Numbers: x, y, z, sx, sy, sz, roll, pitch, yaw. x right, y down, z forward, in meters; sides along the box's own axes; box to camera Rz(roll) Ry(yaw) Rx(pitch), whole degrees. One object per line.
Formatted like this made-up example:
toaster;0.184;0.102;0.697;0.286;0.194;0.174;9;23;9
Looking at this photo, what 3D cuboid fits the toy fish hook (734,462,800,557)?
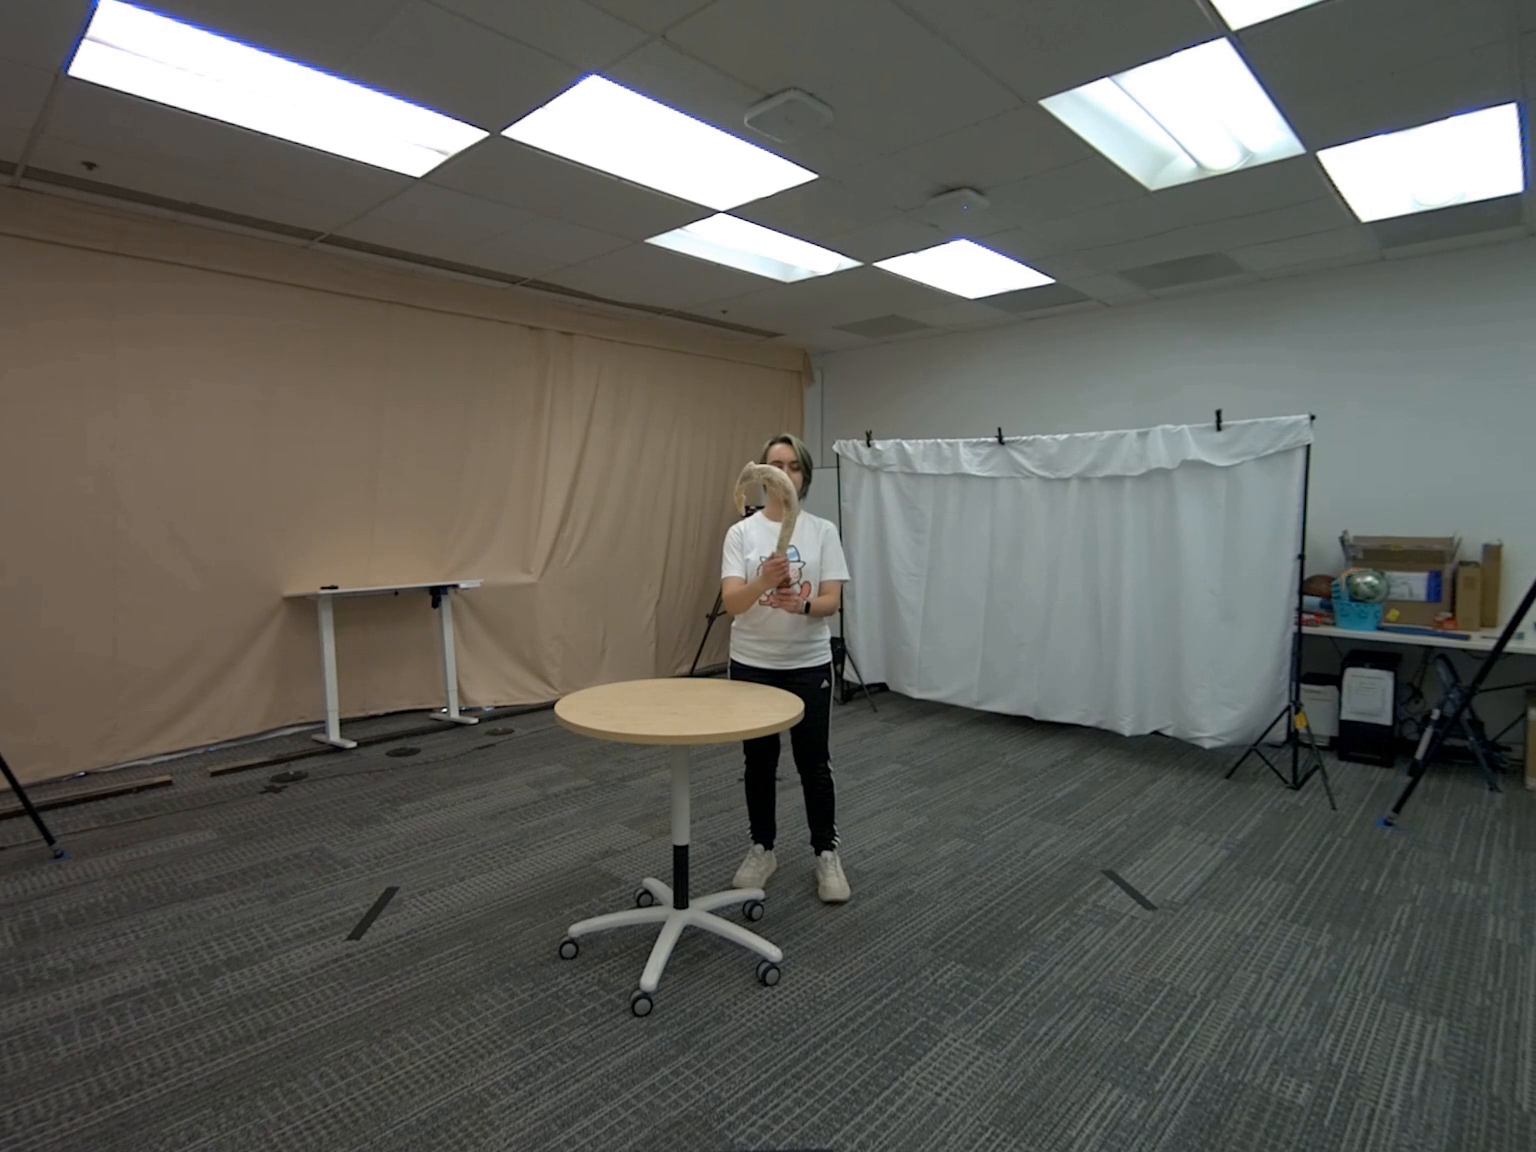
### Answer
toy fish hook;-0.004;-0.124;2.658;0.232;0.498;0.047;21;37;33
